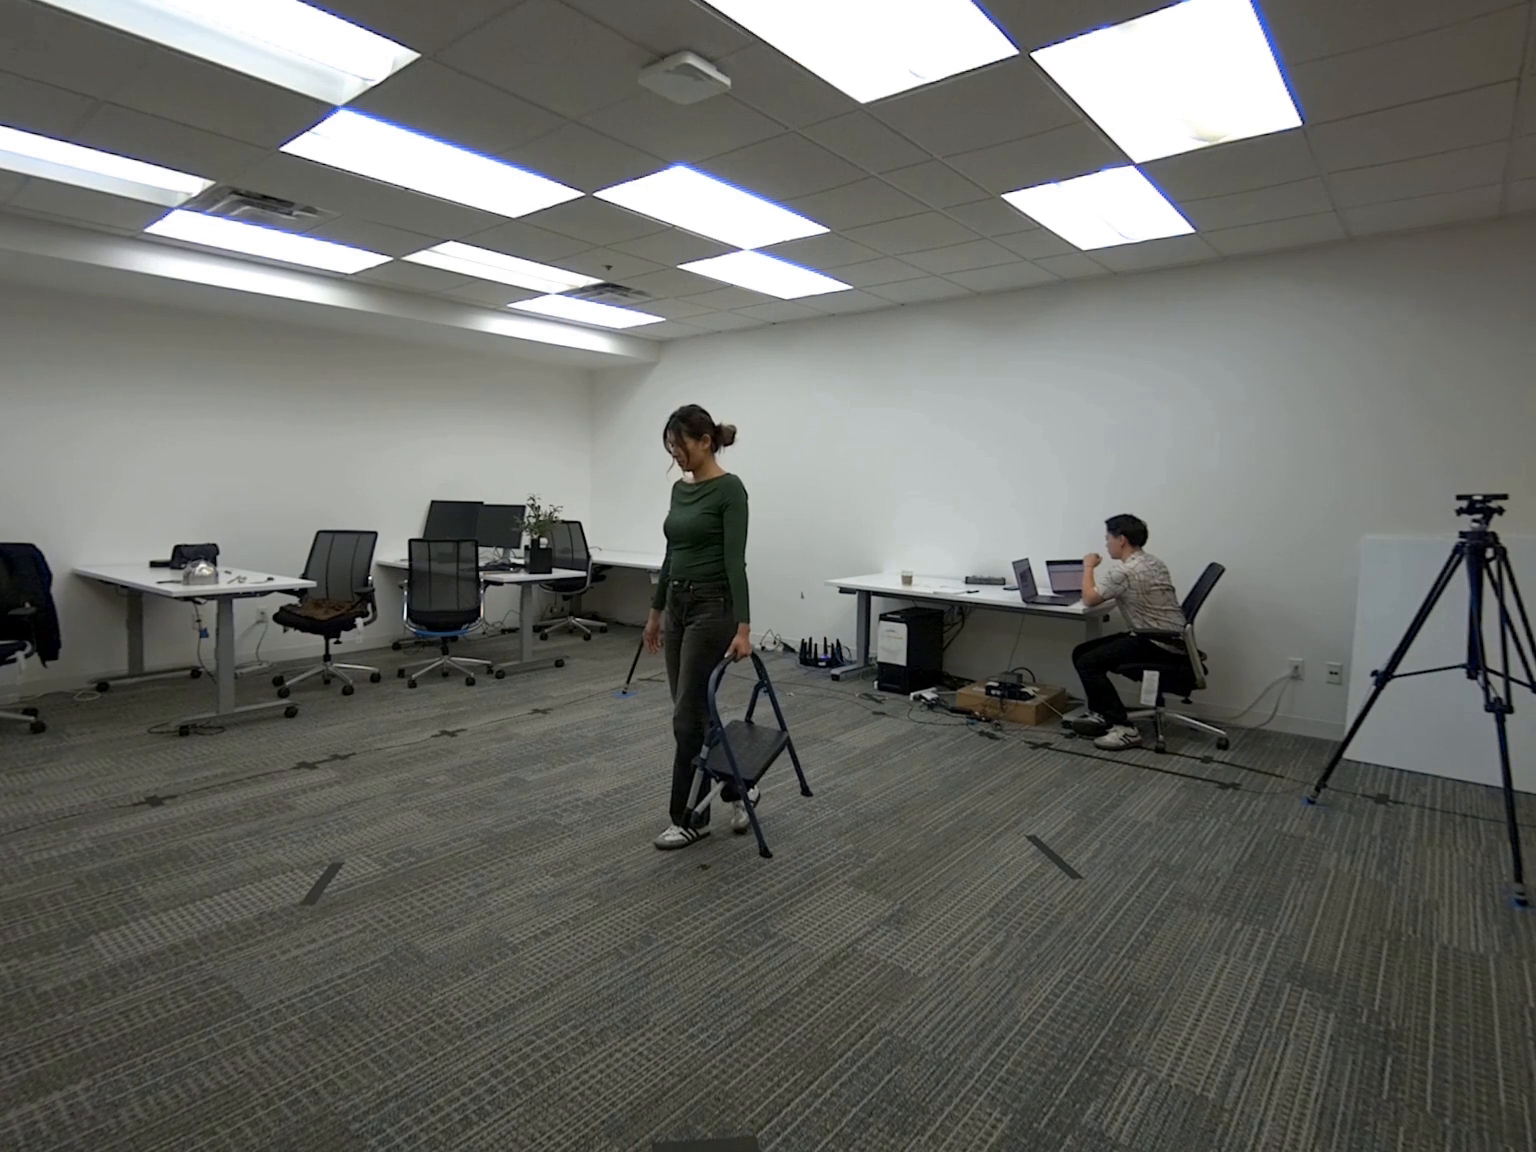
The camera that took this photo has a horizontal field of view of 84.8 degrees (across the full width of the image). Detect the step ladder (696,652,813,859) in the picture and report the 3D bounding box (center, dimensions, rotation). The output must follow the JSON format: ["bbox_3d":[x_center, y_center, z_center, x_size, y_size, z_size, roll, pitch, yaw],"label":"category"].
[{"bbox_3d":[-0.077,0.583,3.052,0.358,0.596,0.426,8,19,23],"label":"step ladder"}]
